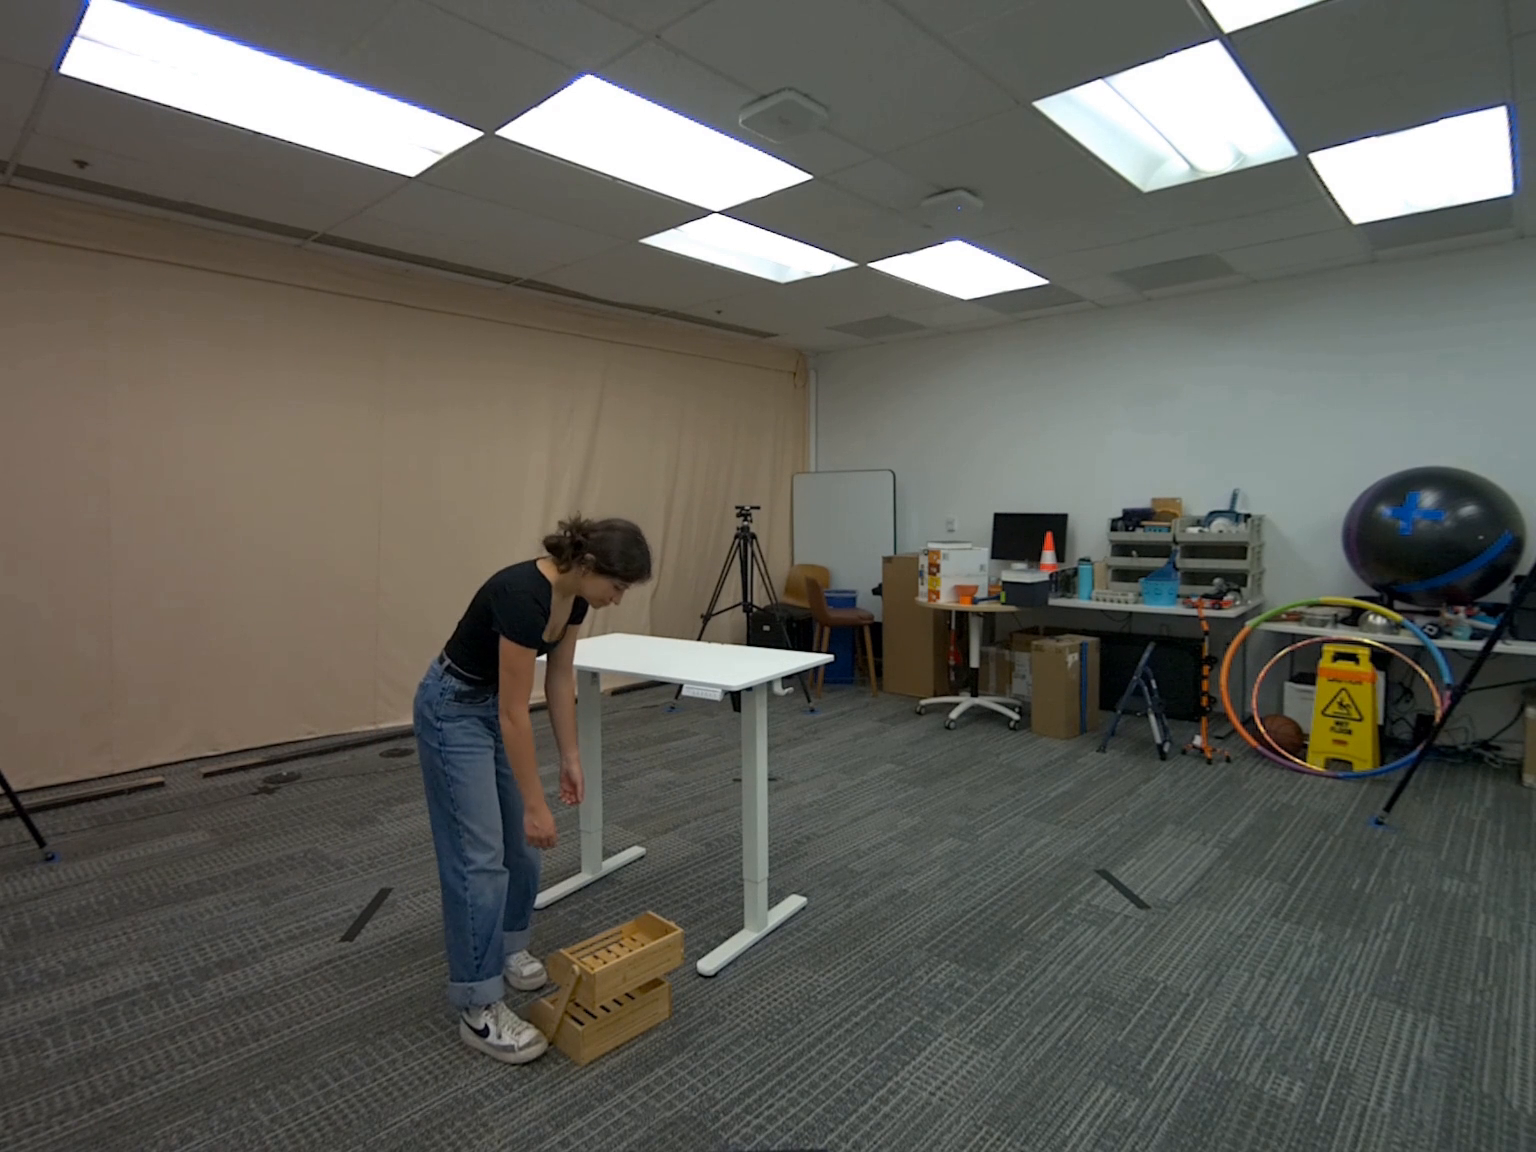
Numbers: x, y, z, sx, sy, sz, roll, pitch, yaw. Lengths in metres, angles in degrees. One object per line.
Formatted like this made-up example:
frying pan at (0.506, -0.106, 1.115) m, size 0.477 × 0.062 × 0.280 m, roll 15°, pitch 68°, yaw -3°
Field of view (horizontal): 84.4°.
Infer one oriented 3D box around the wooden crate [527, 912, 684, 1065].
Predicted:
wooden crate at (-0.437, 1.077, 2.255) m, size 0.312 × 0.272 × 0.314 m, roll 4°, pitch 6°, yaw 44°
